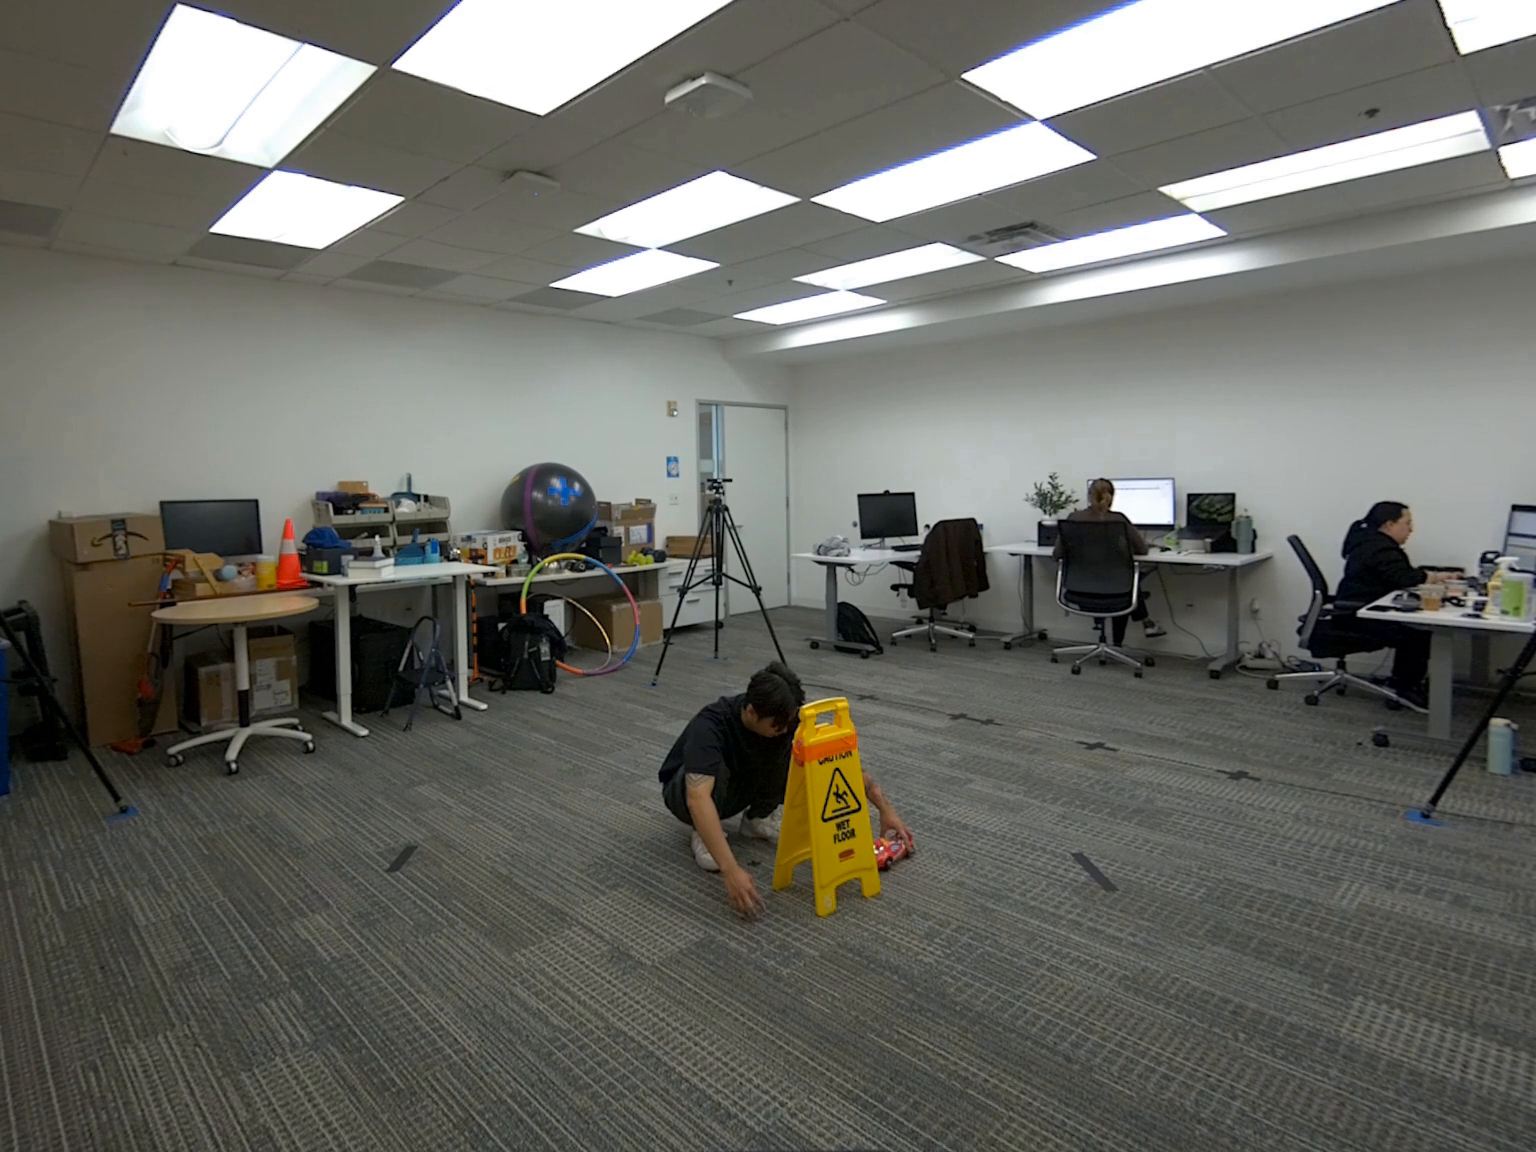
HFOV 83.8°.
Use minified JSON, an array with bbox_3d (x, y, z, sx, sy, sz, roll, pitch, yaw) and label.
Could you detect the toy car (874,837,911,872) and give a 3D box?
[{"bbox_3d":[0.415,1.000,3.098,0.134,0.083,0.246,6,-3,44],"label":"toy car"}]
